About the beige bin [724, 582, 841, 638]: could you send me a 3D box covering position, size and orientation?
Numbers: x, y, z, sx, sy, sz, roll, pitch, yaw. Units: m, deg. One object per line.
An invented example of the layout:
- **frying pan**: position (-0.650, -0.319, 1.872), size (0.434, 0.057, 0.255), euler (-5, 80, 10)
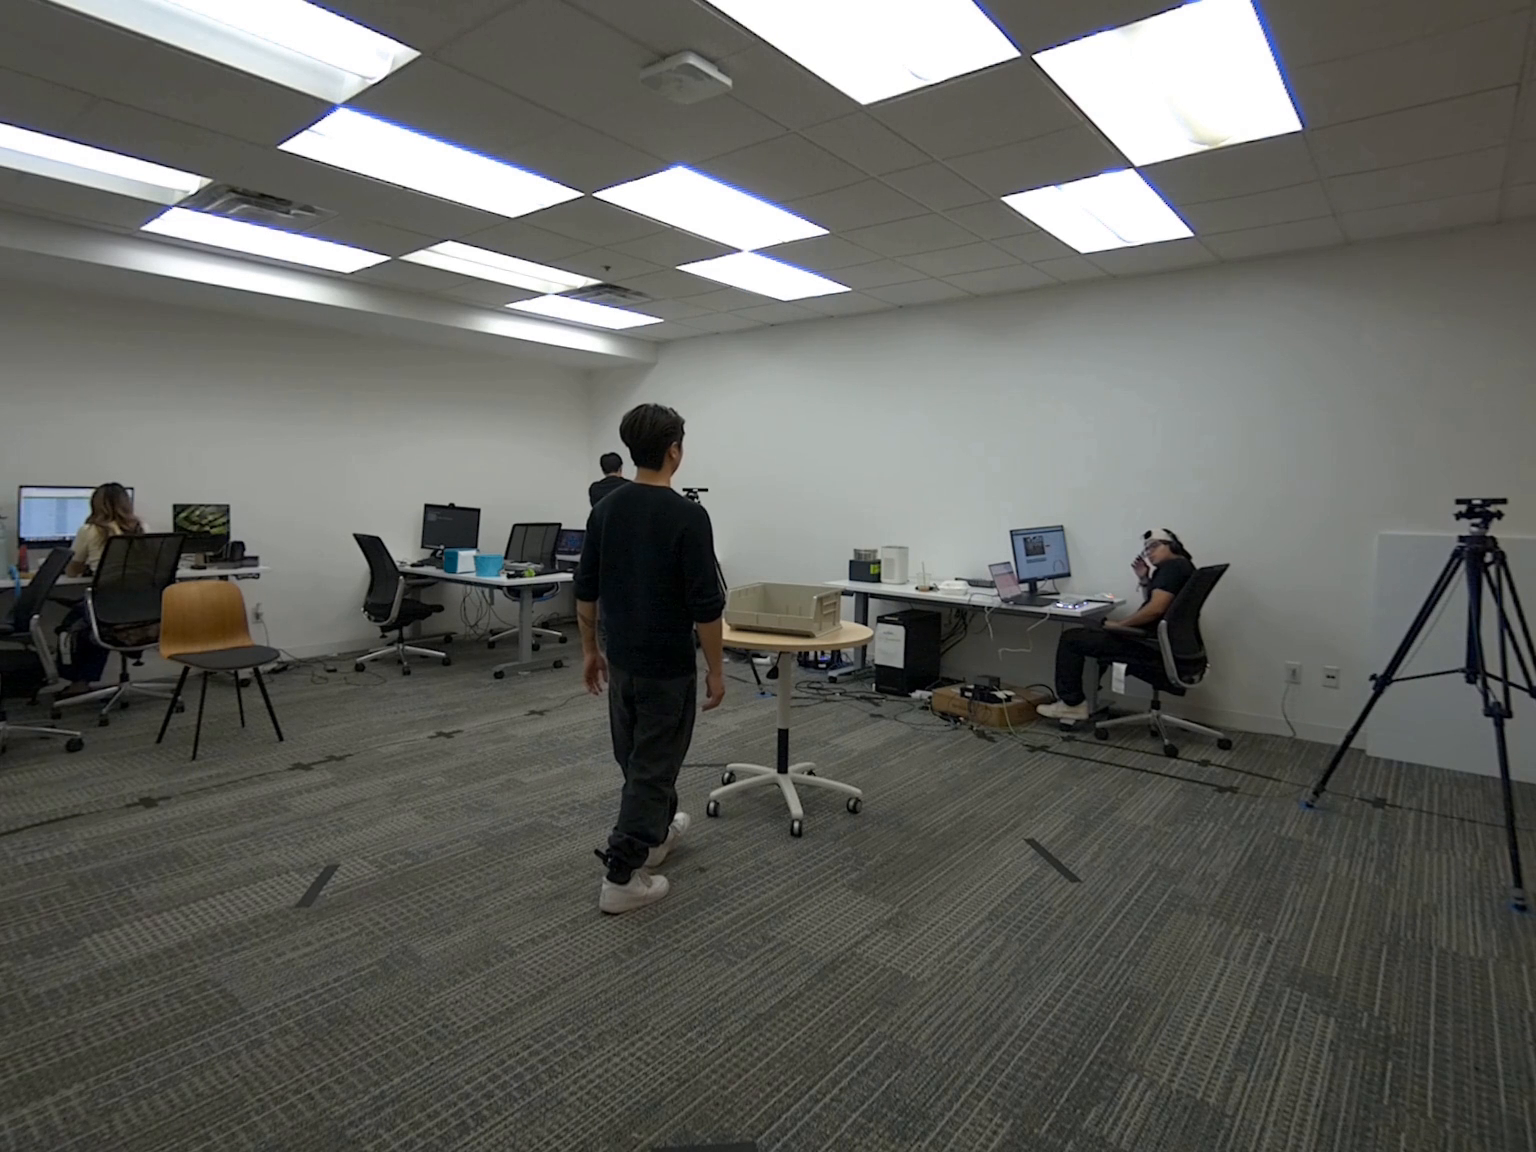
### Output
- **beige bin**: position (0.068, 0.143, 3.743), size (0.434, 0.188, 0.368), euler (3, 5, 26)
